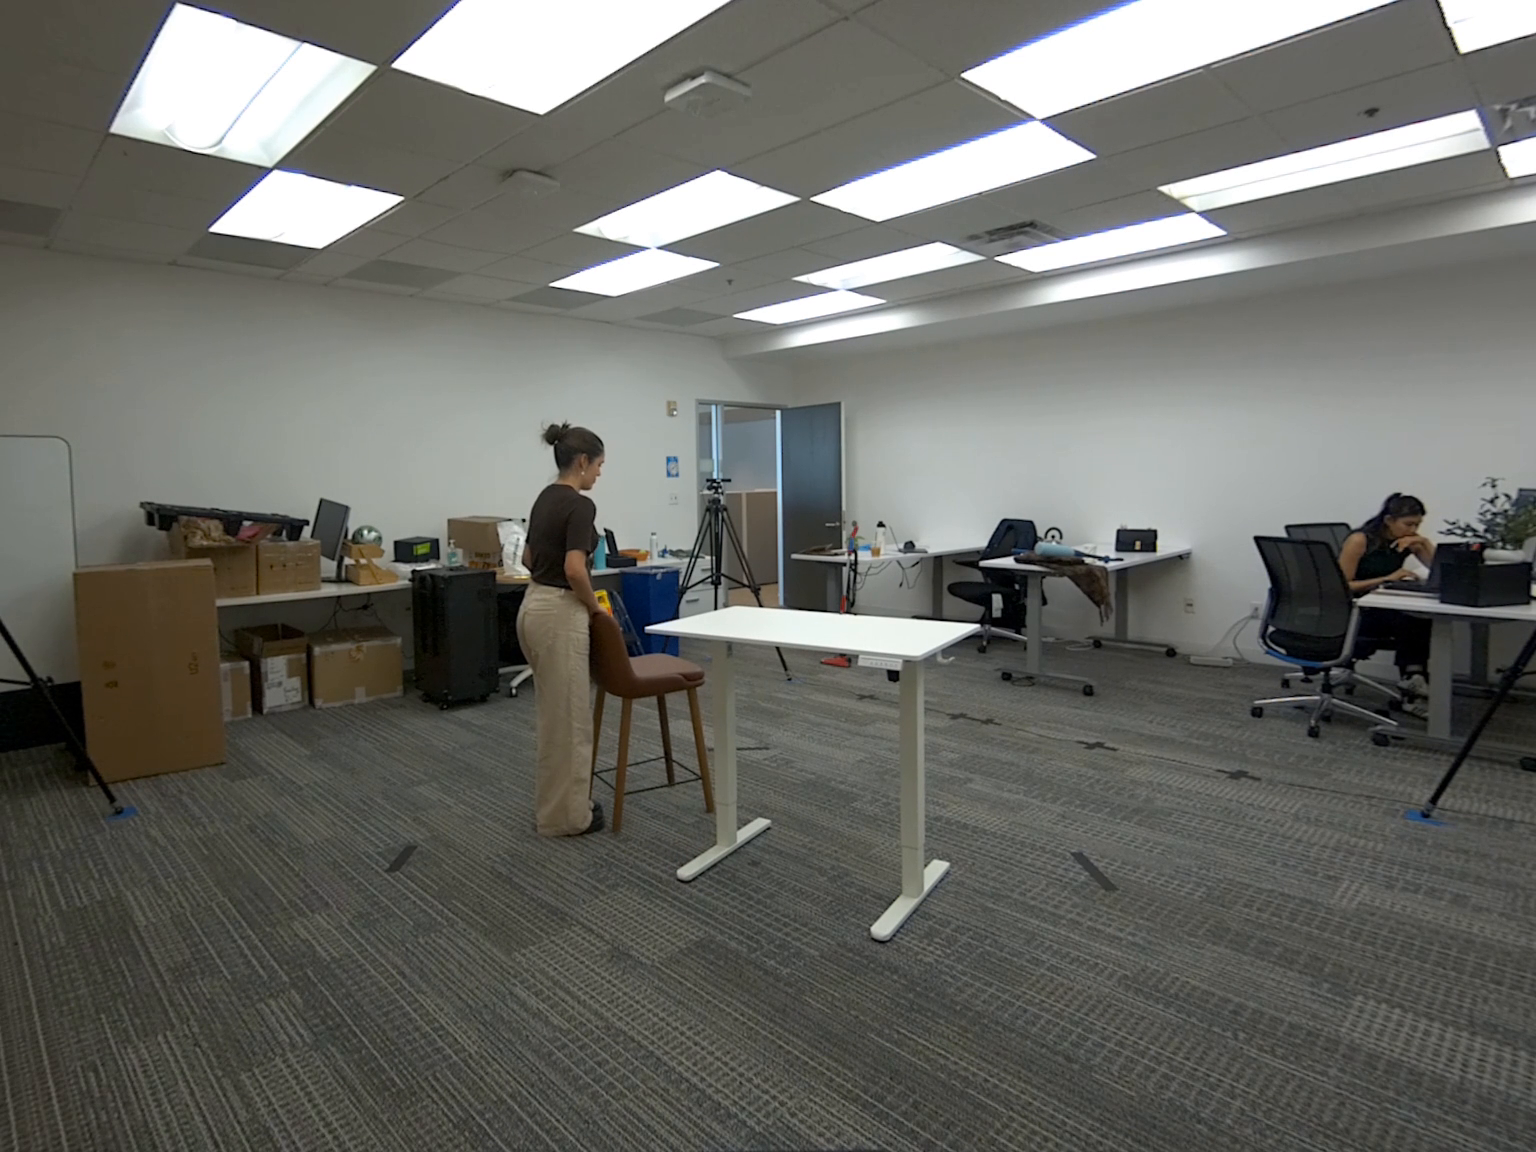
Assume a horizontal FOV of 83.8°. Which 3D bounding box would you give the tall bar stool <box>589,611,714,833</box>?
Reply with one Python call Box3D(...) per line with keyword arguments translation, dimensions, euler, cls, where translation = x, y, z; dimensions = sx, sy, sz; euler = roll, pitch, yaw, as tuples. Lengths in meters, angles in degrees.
Box3D(translation=(-0.541, 0.554, 3.639), dimensions=(0.457, 0.886, 0.469), euler=(-5, 5, -31), cls="tall bar stool")
